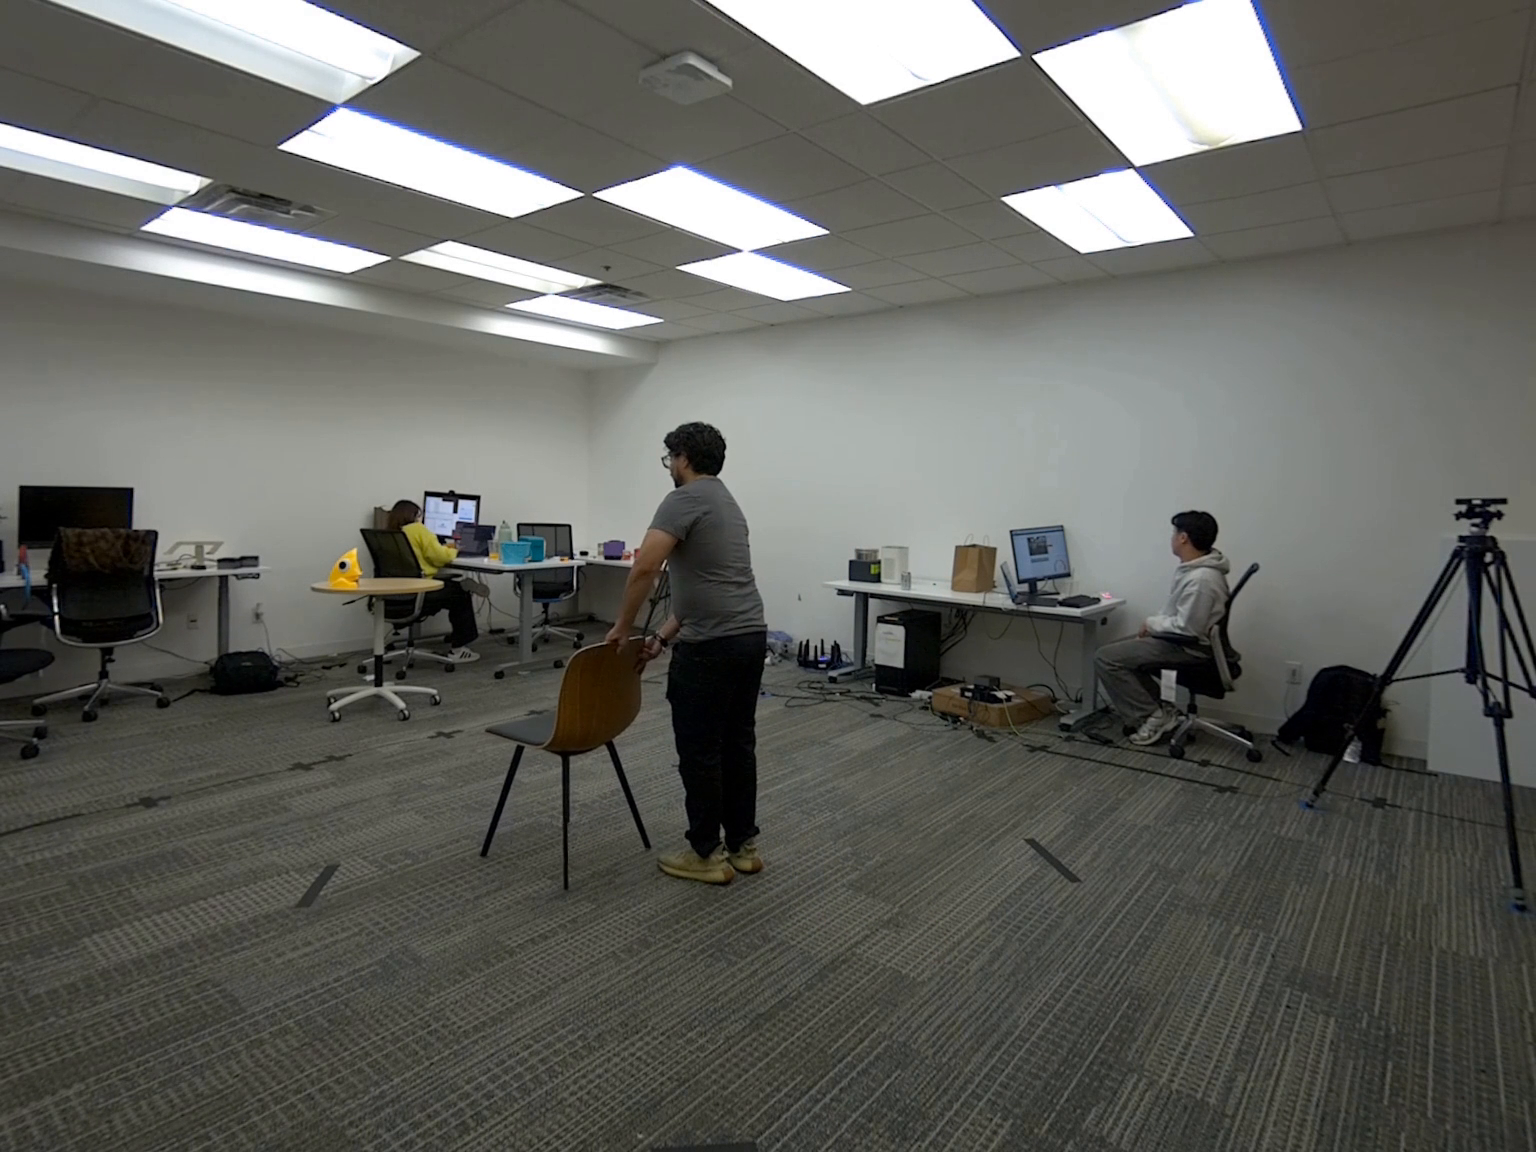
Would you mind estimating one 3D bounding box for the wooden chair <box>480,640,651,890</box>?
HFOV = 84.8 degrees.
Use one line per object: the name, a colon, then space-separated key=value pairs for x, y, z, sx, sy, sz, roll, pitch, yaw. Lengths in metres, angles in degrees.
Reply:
wooden chair: x=-0.777 y=0.622 z=3.205 sx=0.541 sy=0.873 sz=0.465 roll=8 pitch=7 yaw=34
